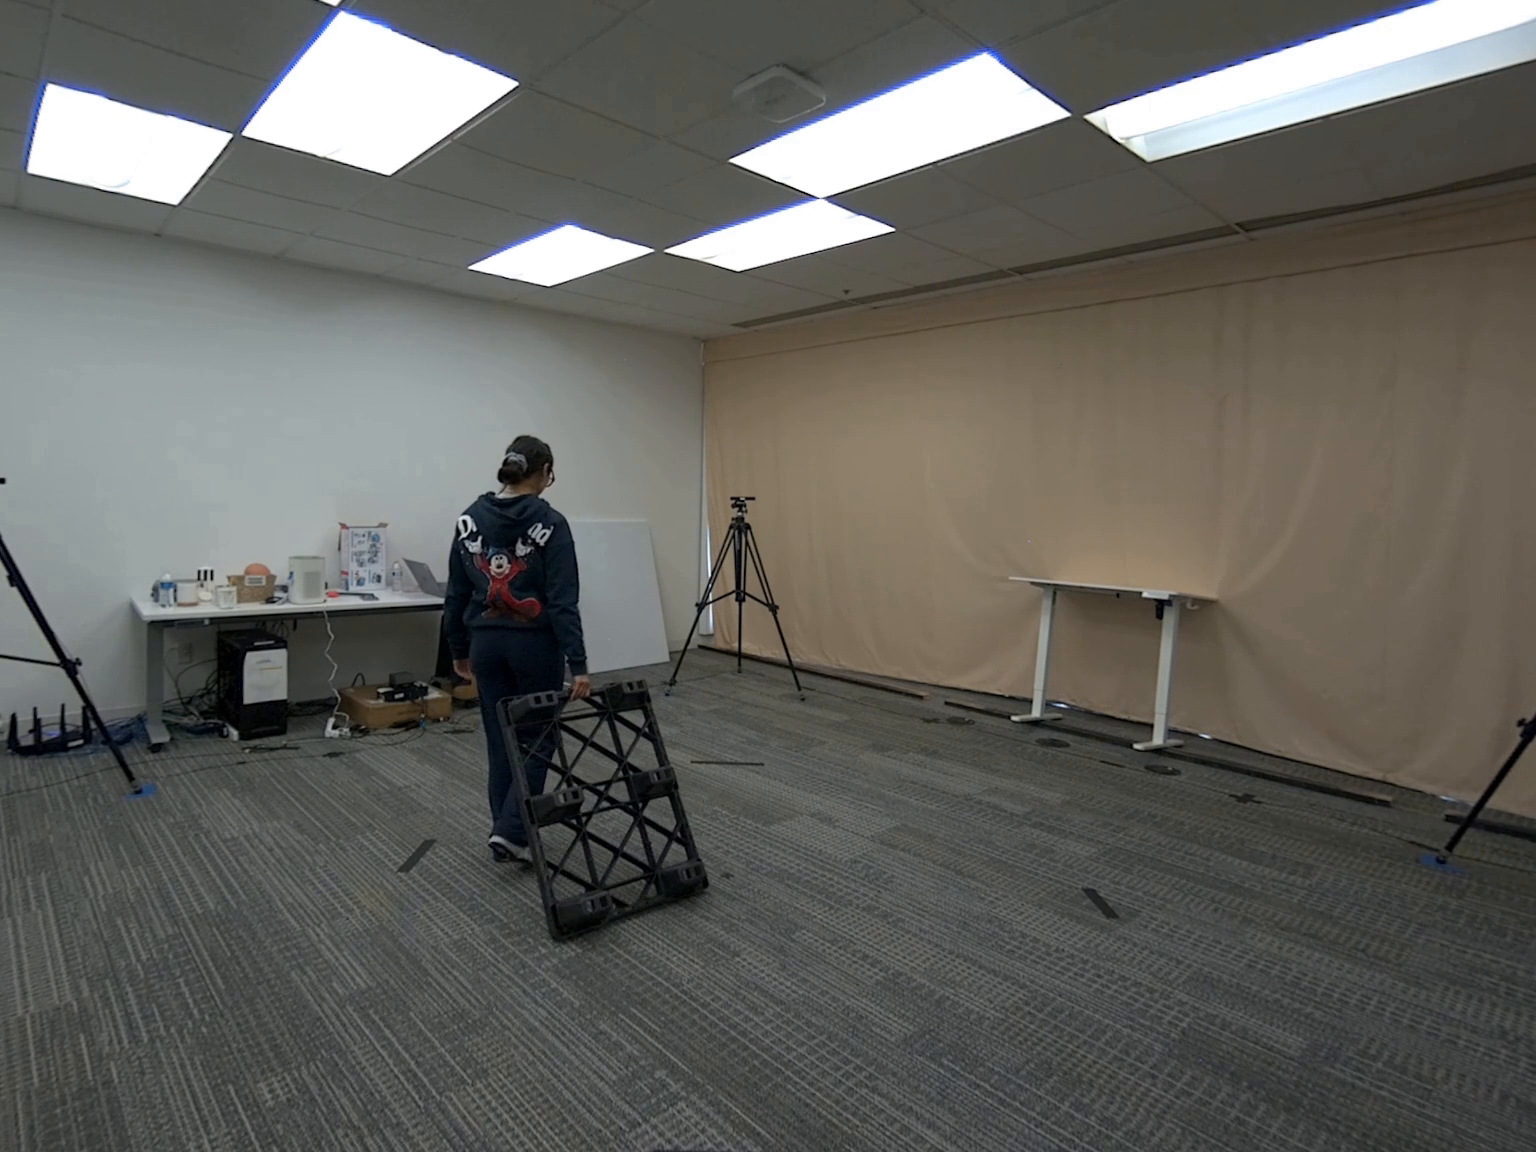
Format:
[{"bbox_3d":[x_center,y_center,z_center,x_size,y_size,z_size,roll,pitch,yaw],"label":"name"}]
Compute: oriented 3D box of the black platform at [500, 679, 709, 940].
[{"bbox_3d":[-0.549,0.752,2.904,0.592,0.822,0.143,-3,-28,-40],"label":"black platform"}]
